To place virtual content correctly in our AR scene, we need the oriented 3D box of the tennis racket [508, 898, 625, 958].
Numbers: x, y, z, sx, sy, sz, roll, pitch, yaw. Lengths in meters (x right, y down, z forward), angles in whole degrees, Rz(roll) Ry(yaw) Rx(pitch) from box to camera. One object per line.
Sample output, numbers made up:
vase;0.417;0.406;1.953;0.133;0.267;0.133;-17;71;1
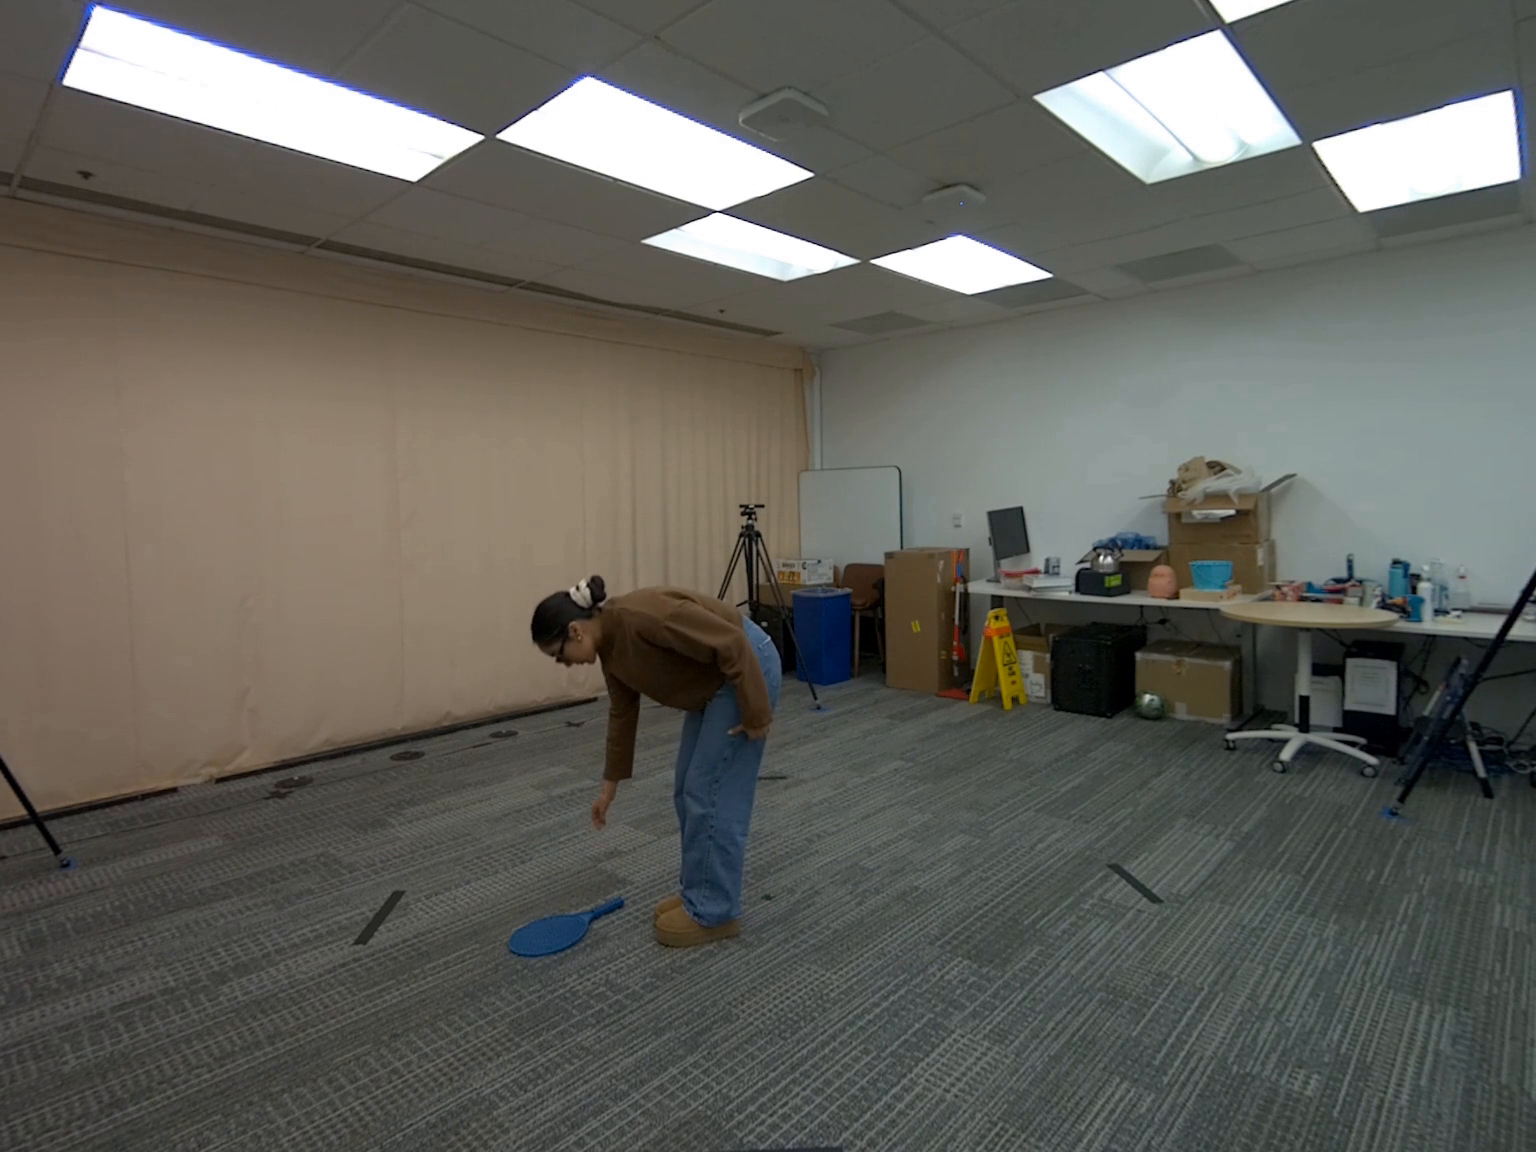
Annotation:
tennis racket;-0.656;1.162;2.795;0.420;0.031;0.221;-8;8;-44
